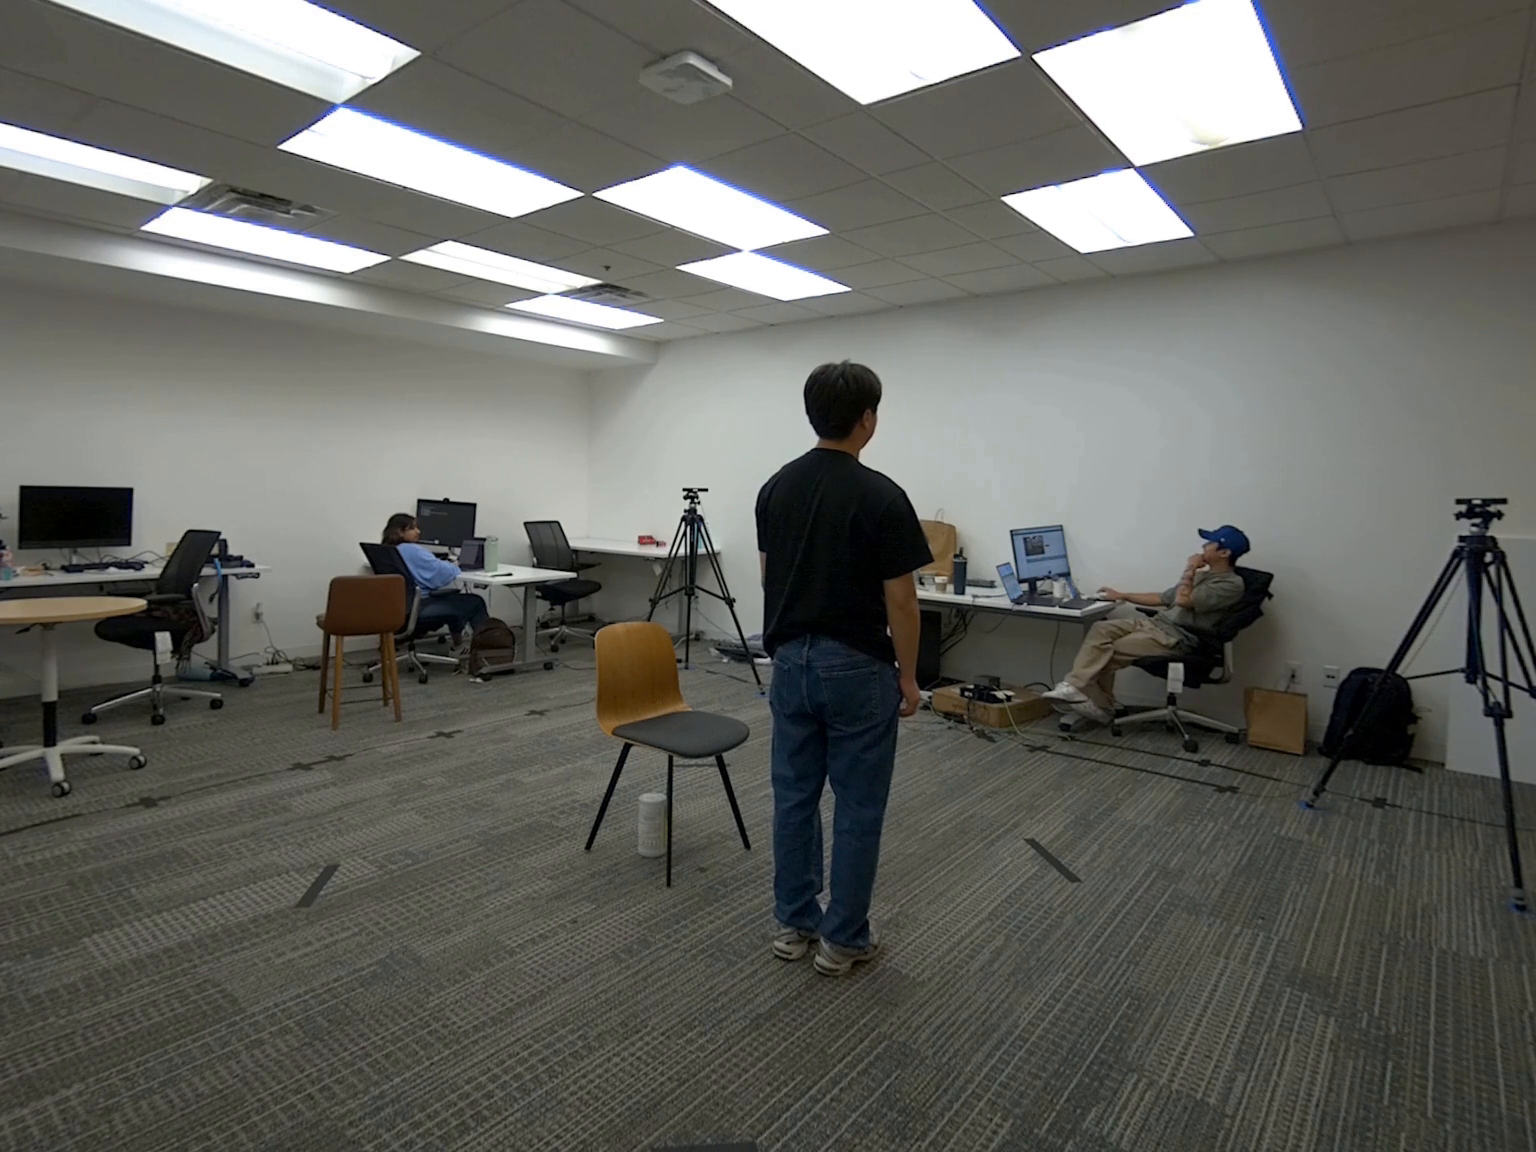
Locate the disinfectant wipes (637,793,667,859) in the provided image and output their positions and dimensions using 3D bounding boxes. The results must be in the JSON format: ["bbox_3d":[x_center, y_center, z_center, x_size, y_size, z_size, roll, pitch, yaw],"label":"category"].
[{"bbox_3d":[-0.447,0.940,3.240,0.118,0.217,0.118,1,4,-2],"label":"disinfectant wipes"}]
